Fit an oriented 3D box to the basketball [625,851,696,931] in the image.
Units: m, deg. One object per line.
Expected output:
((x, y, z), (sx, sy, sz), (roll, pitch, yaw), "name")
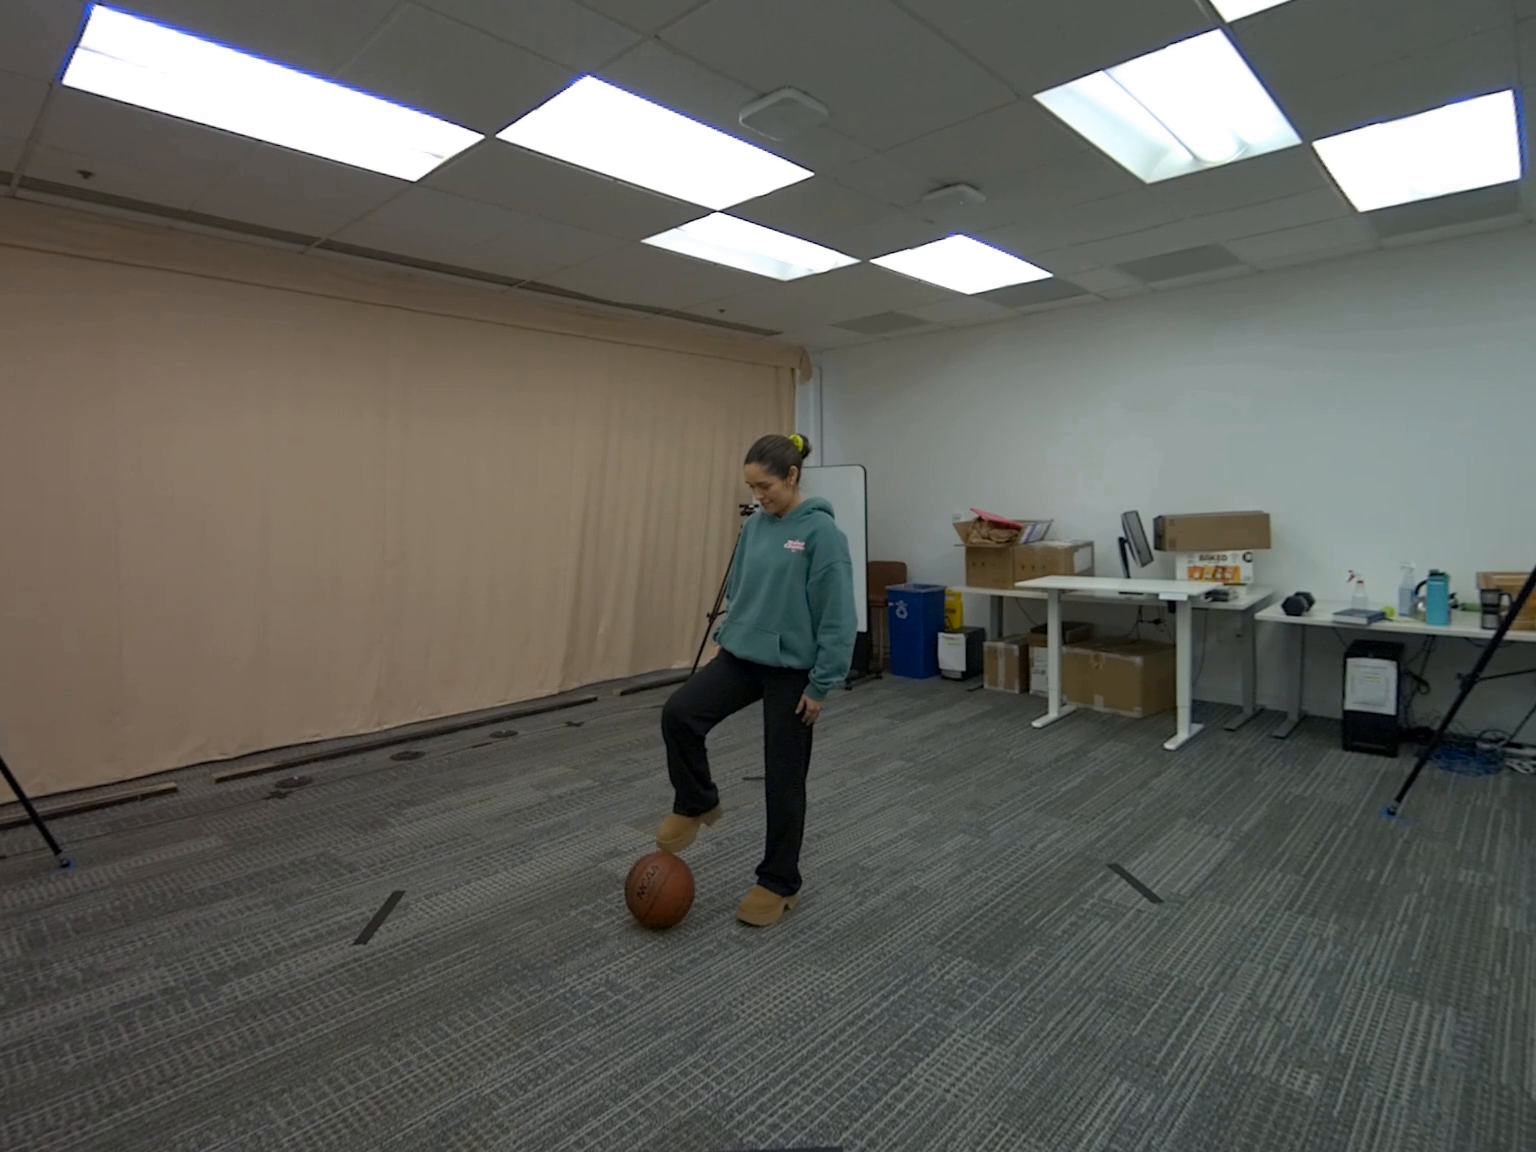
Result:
((-0.361, 1.043, 2.799), (0.236, 0.235, 0.237), (-1, 4, -2), "basketball")
